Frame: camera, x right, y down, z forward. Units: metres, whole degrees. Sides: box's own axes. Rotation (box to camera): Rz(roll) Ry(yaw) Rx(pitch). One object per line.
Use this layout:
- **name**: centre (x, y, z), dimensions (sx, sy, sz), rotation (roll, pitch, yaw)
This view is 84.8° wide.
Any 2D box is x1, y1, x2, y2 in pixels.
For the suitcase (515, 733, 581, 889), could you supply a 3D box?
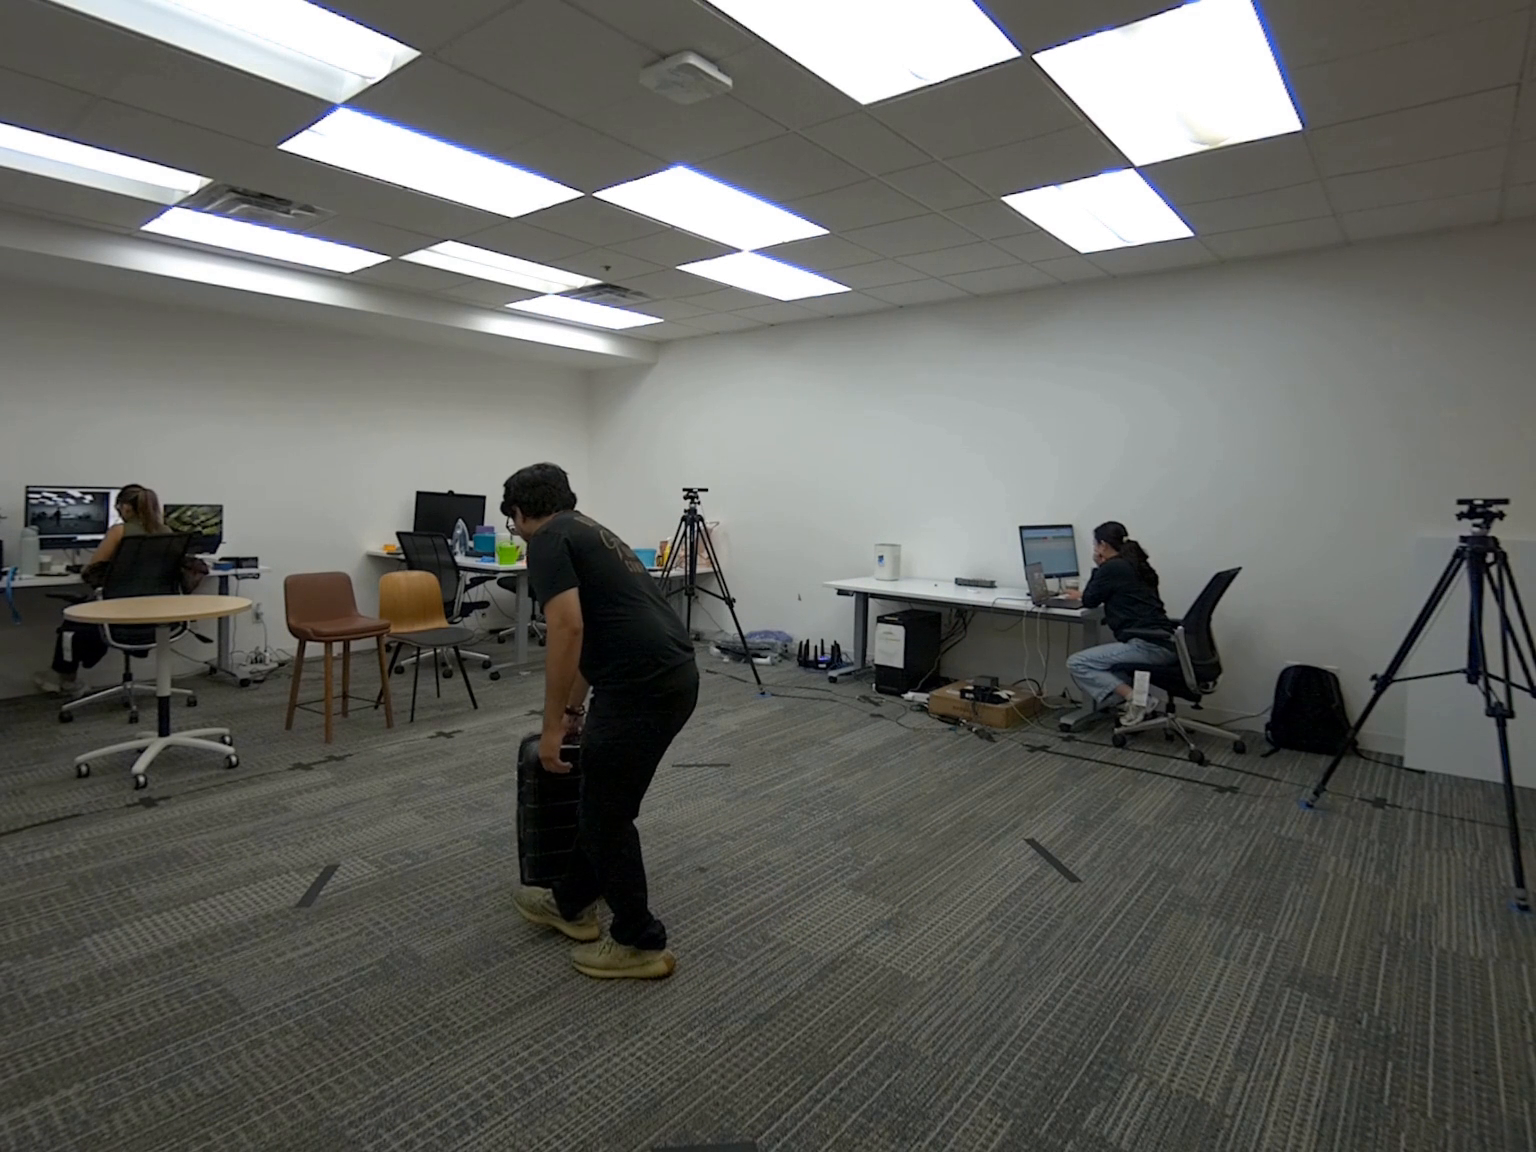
- **suitcase**: centre (-0.684, 0.799, 2.931), dimensions (0.368, 0.549, 0.253), rotation (-1, 1, -19)
